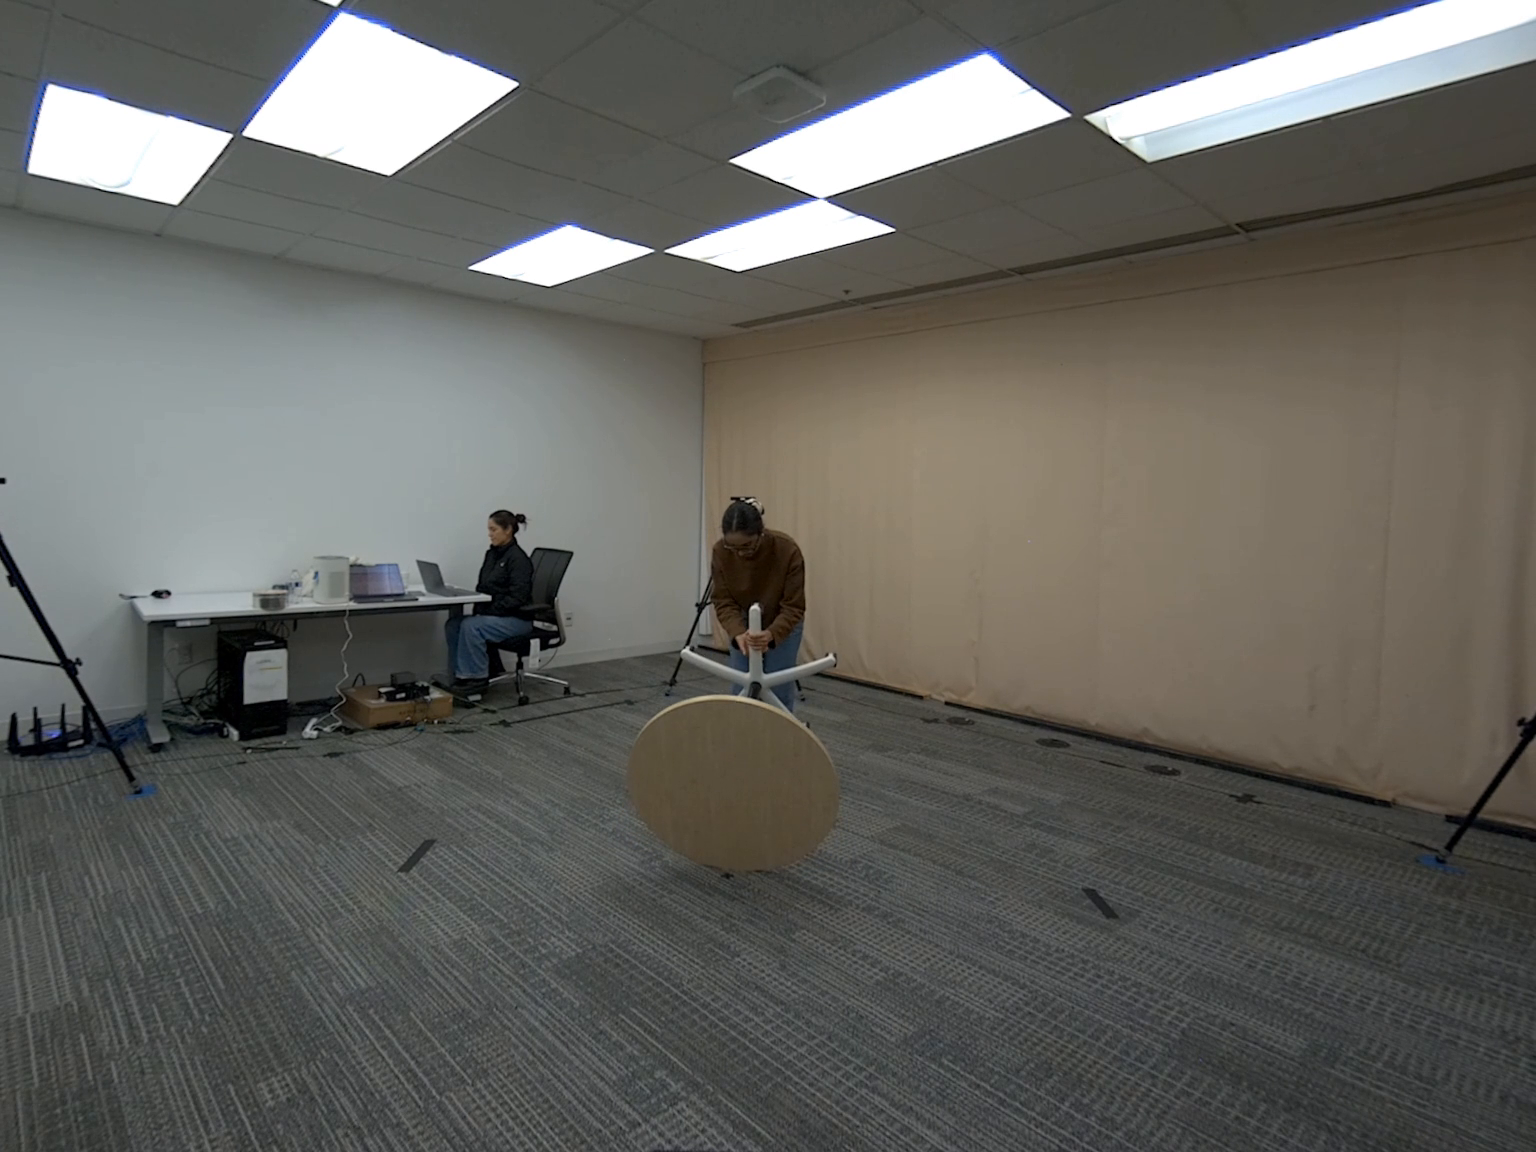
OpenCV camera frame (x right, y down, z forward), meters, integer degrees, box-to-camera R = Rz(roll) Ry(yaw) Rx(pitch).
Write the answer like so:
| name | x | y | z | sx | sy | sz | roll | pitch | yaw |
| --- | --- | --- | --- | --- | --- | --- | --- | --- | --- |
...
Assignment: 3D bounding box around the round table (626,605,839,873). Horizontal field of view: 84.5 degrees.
| name | x | y | z | sx | sy | sz | roll | pitch | yaw |
| --- | --- | --- | --- | --- | --- | --- | --- | --- | --- |
| round table | -0.087 | 0.589 | 3.350 | 0.769 | 0.751 | 0.802 | 2 | 26 | 8 |
